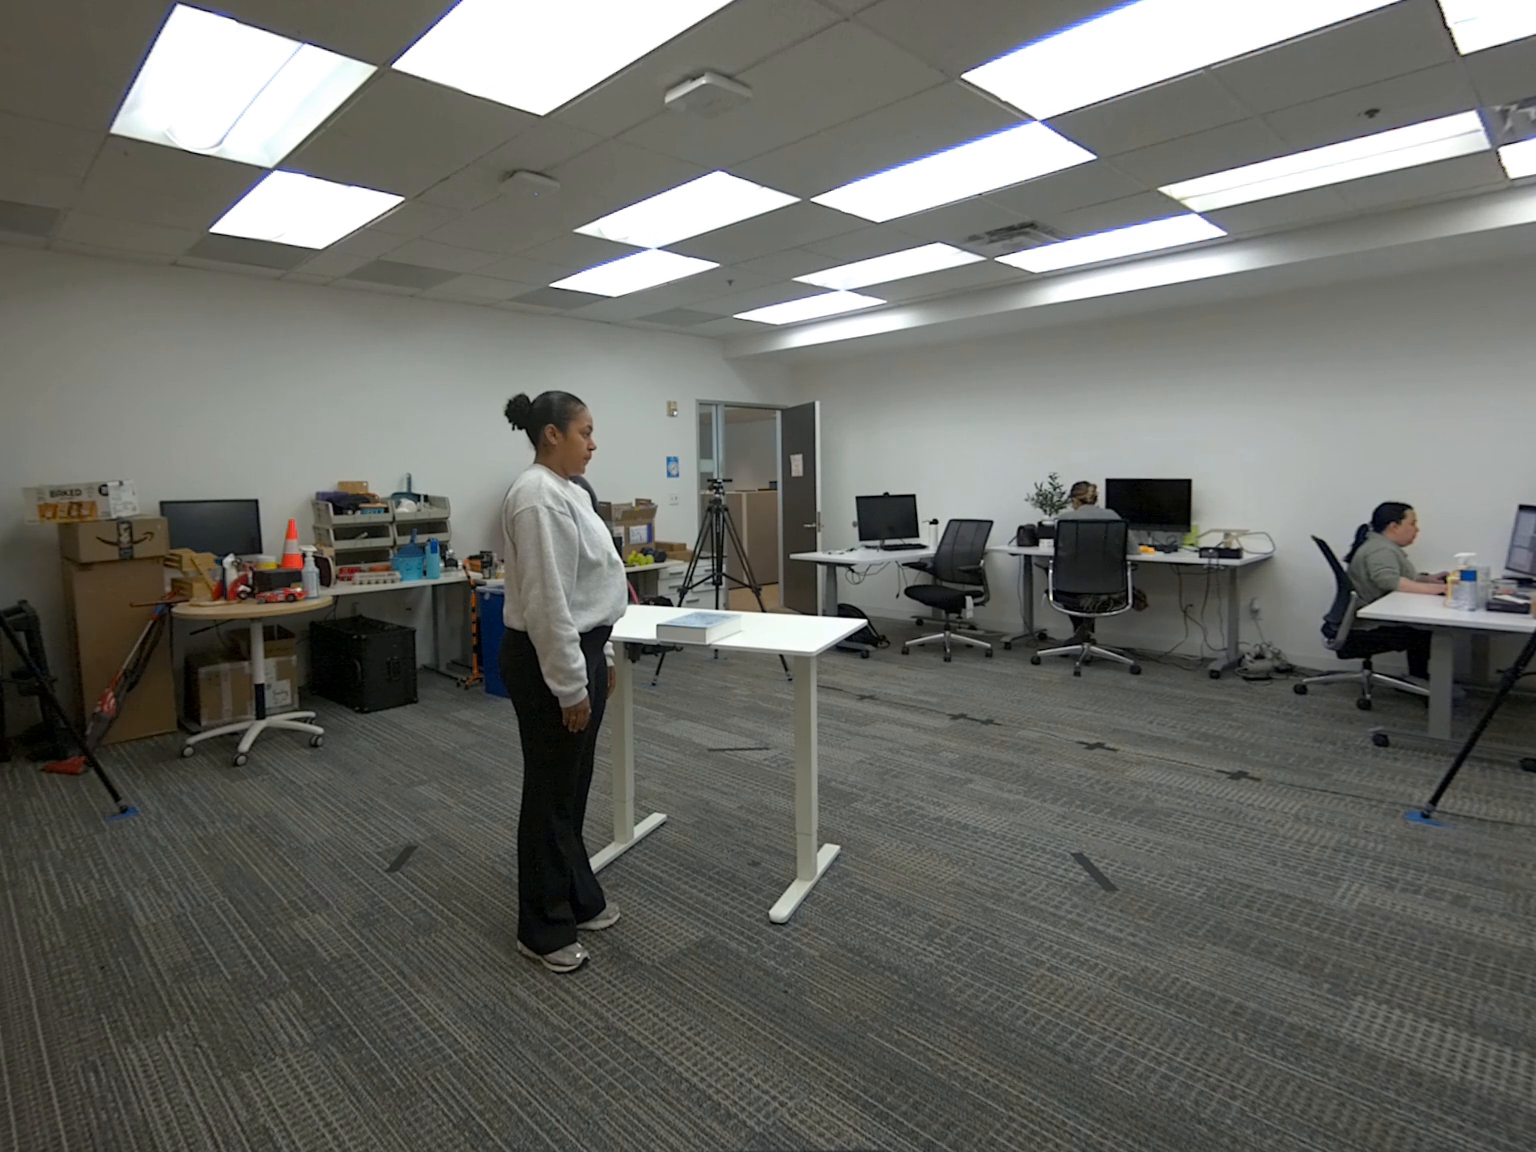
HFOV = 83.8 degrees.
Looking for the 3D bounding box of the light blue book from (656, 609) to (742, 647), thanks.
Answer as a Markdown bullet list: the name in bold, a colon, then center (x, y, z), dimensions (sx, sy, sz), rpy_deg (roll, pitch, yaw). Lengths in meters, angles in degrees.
- **light blue book**: center (-0.227, 0.168, 2.834), dimensions (0.196, 0.059, 0.256), rpy_deg (2, 7, 26)
